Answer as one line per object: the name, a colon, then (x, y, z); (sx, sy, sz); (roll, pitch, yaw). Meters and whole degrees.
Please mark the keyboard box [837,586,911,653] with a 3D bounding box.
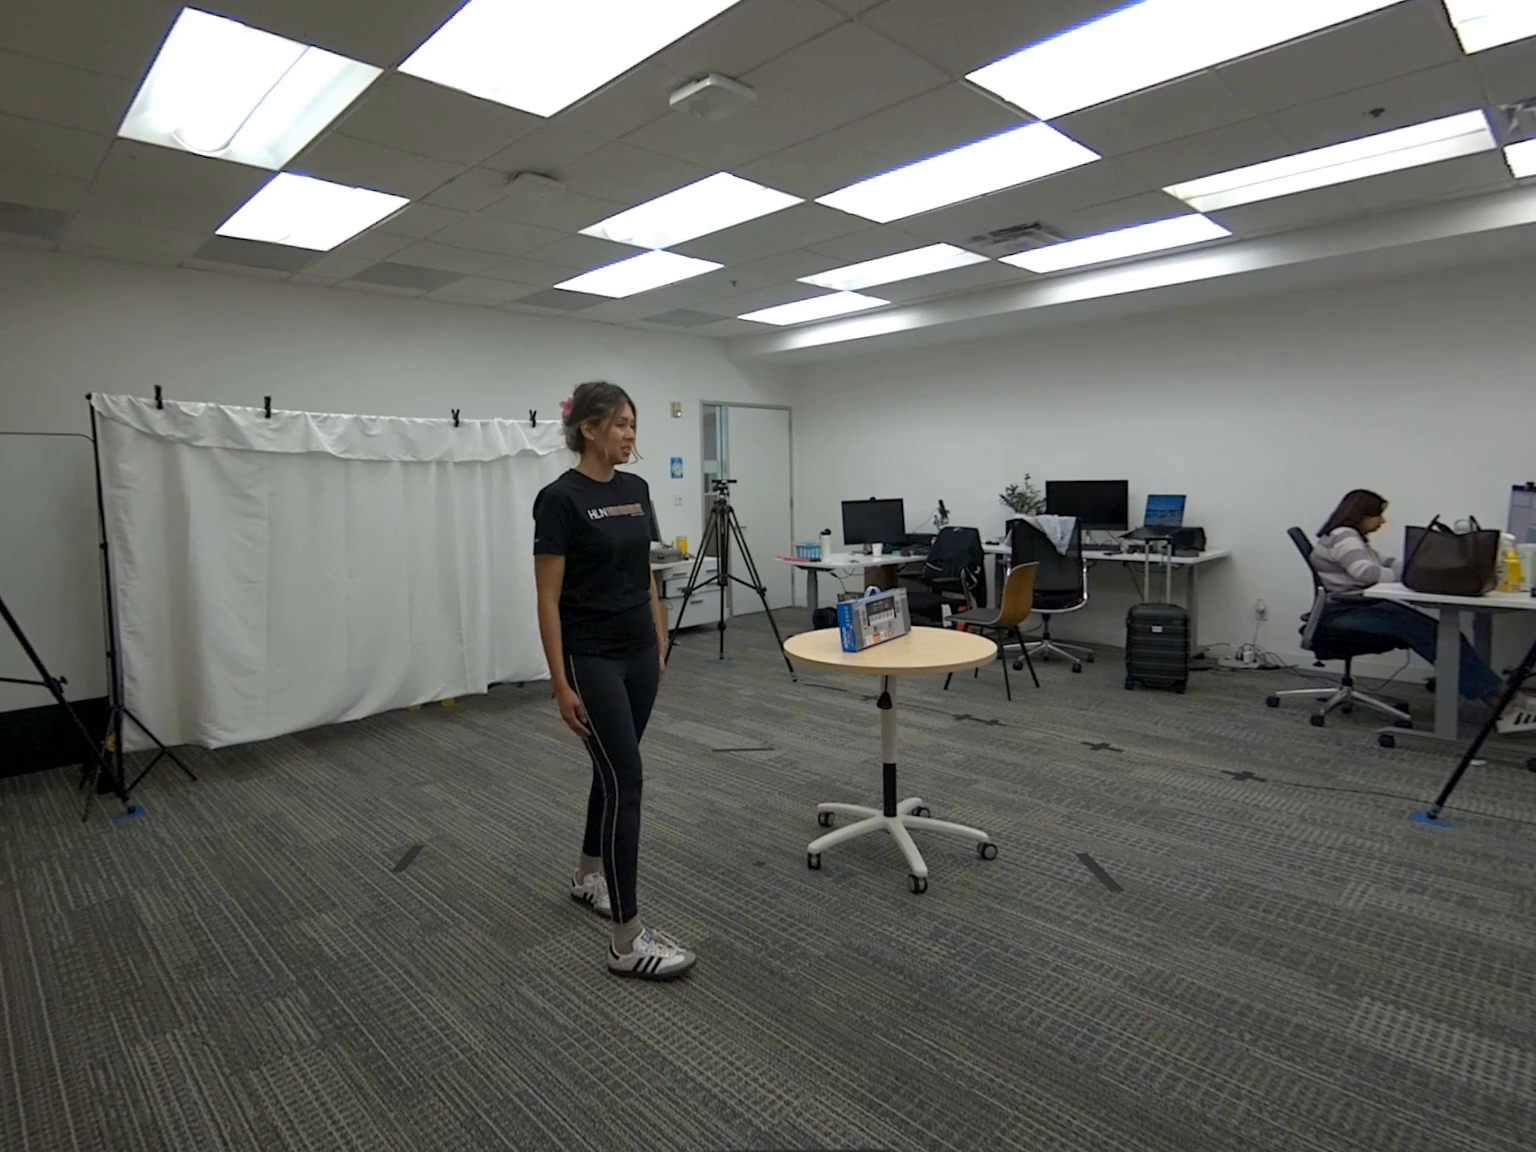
keyboard box: (0.405, 0.160, 3.186); (0.060, 0.176, 0.426); (-8, 1, 37)
